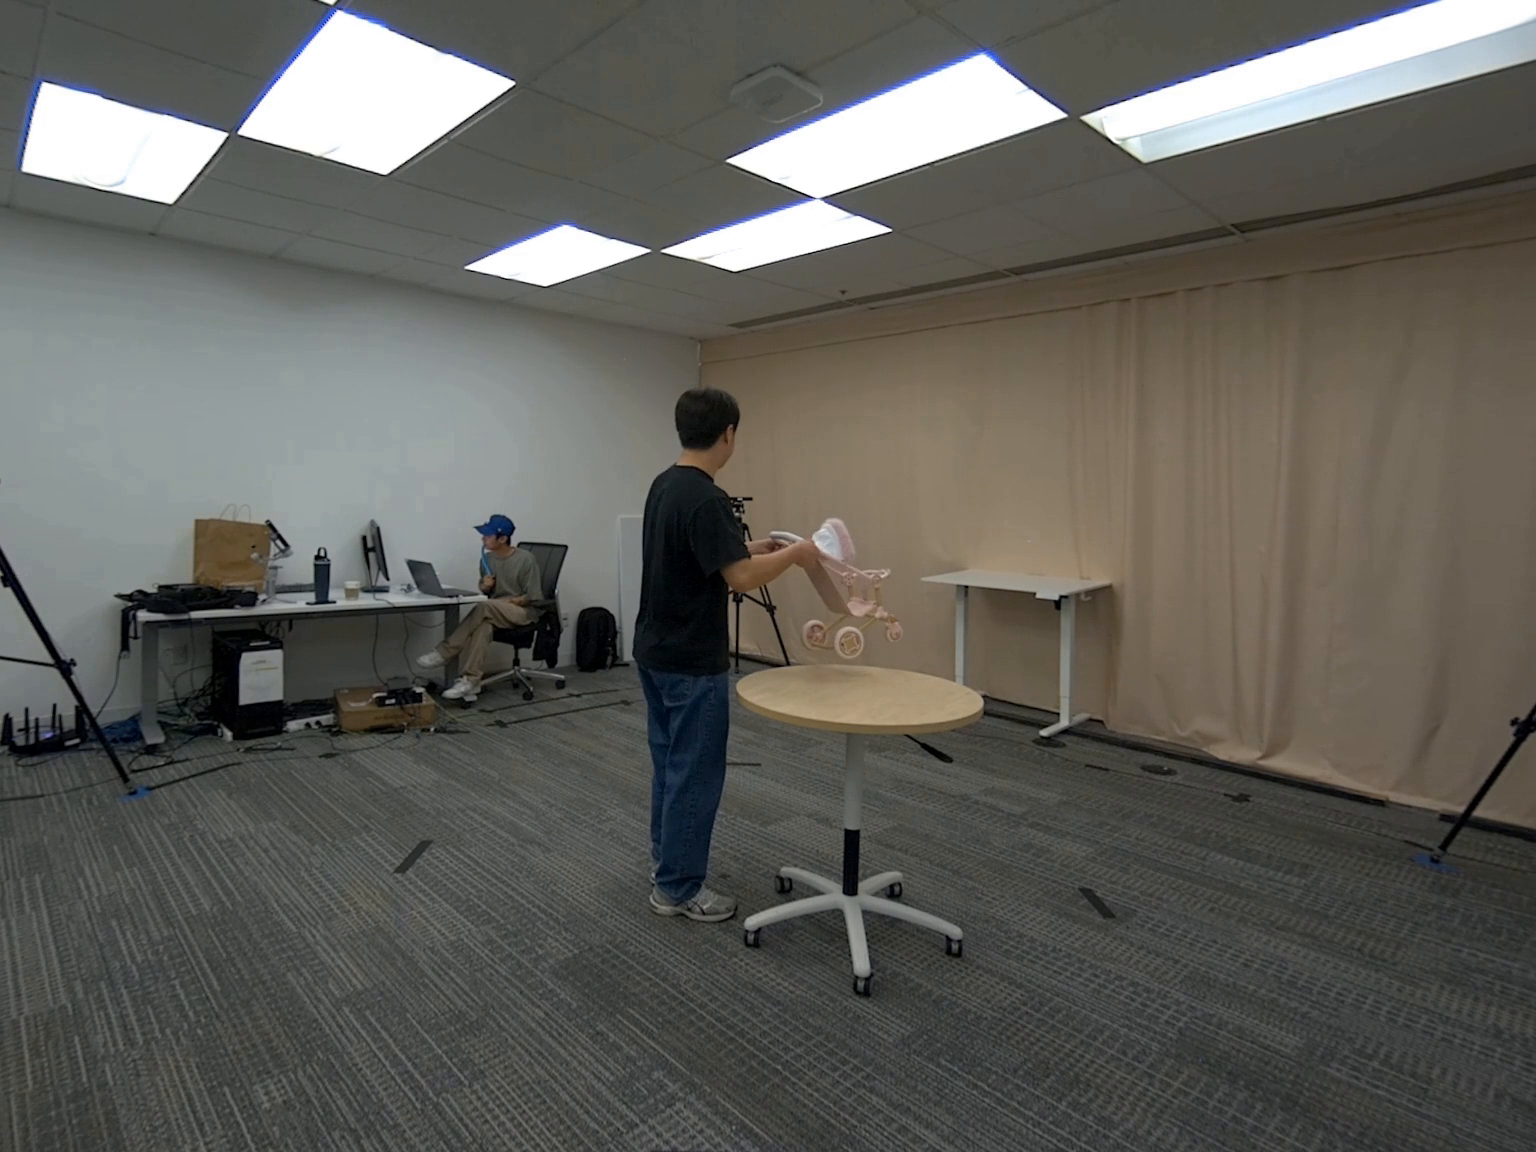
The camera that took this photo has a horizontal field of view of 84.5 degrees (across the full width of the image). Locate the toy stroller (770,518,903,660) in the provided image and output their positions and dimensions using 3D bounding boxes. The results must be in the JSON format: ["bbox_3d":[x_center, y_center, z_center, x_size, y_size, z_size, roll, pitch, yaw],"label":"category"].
[{"bbox_3d":[0.251,0.039,2.933,0.339,0.531,0.285,-22,7,-15],"label":"toy stroller"}]
